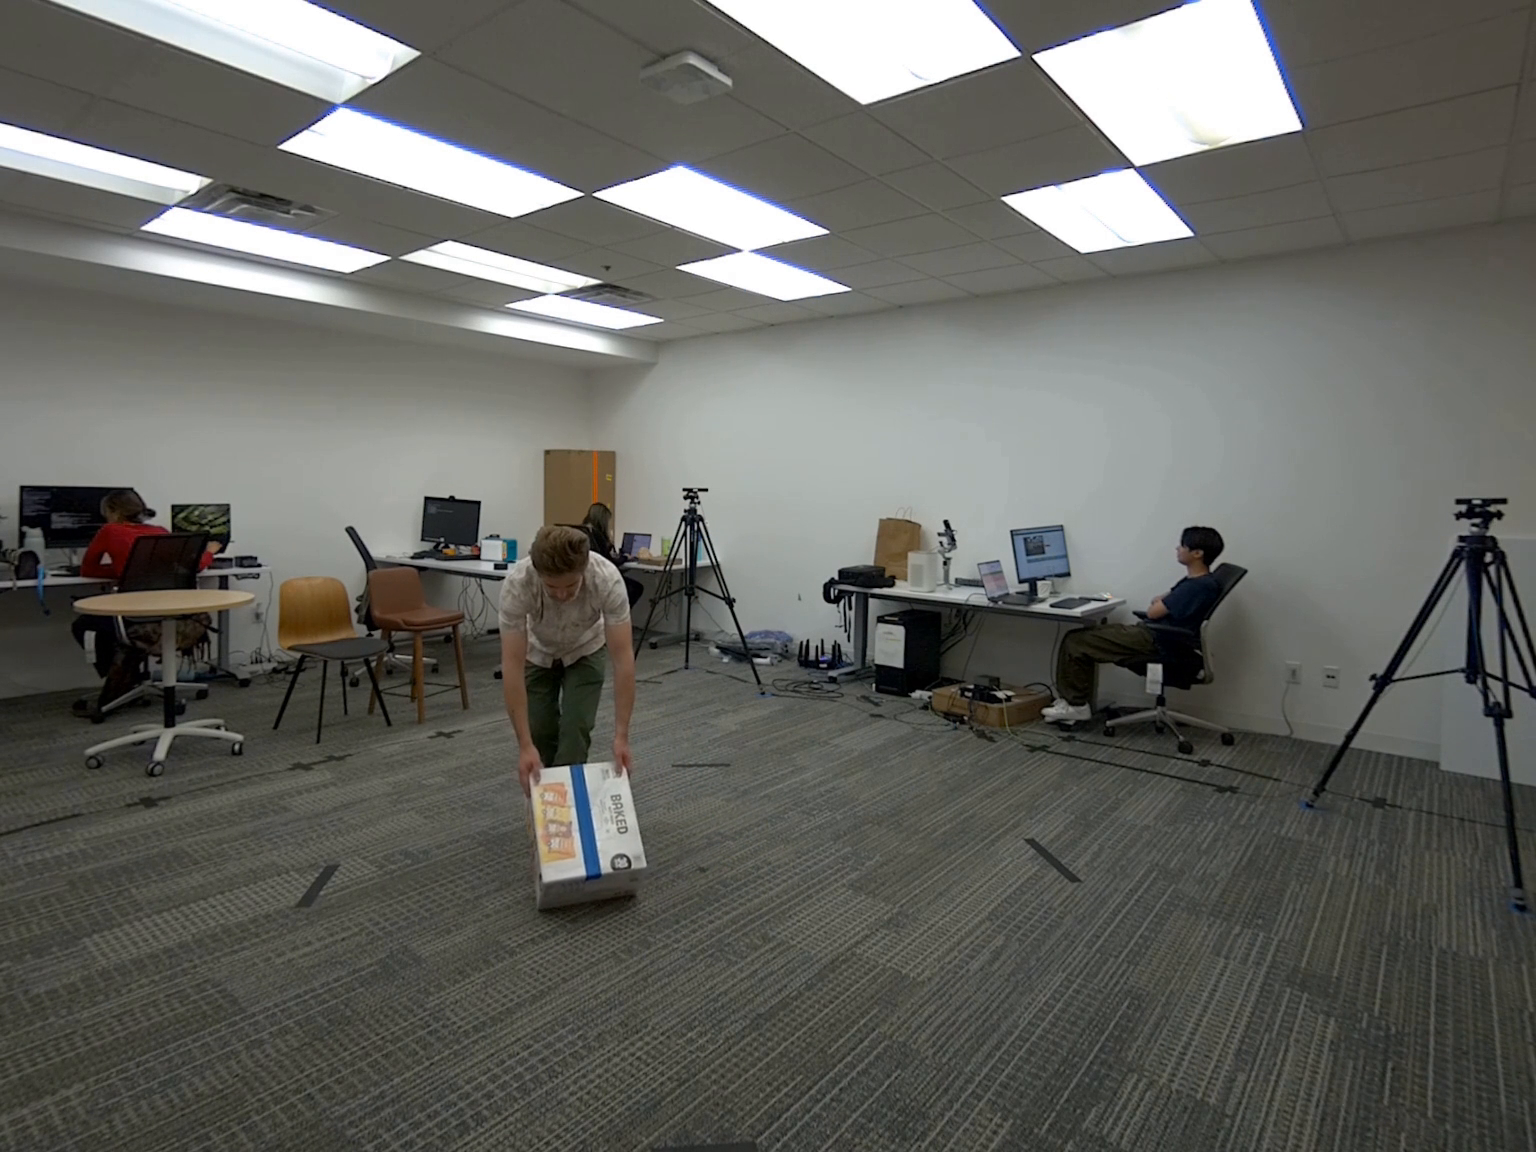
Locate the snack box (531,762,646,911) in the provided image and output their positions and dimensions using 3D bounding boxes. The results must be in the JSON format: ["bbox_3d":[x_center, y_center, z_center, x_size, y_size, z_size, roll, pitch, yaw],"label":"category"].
[{"bbox_3d":[-0.647,0.874,2.915,0.333,0.202,0.421,-2,46,-22],"label":"snack box"}]
